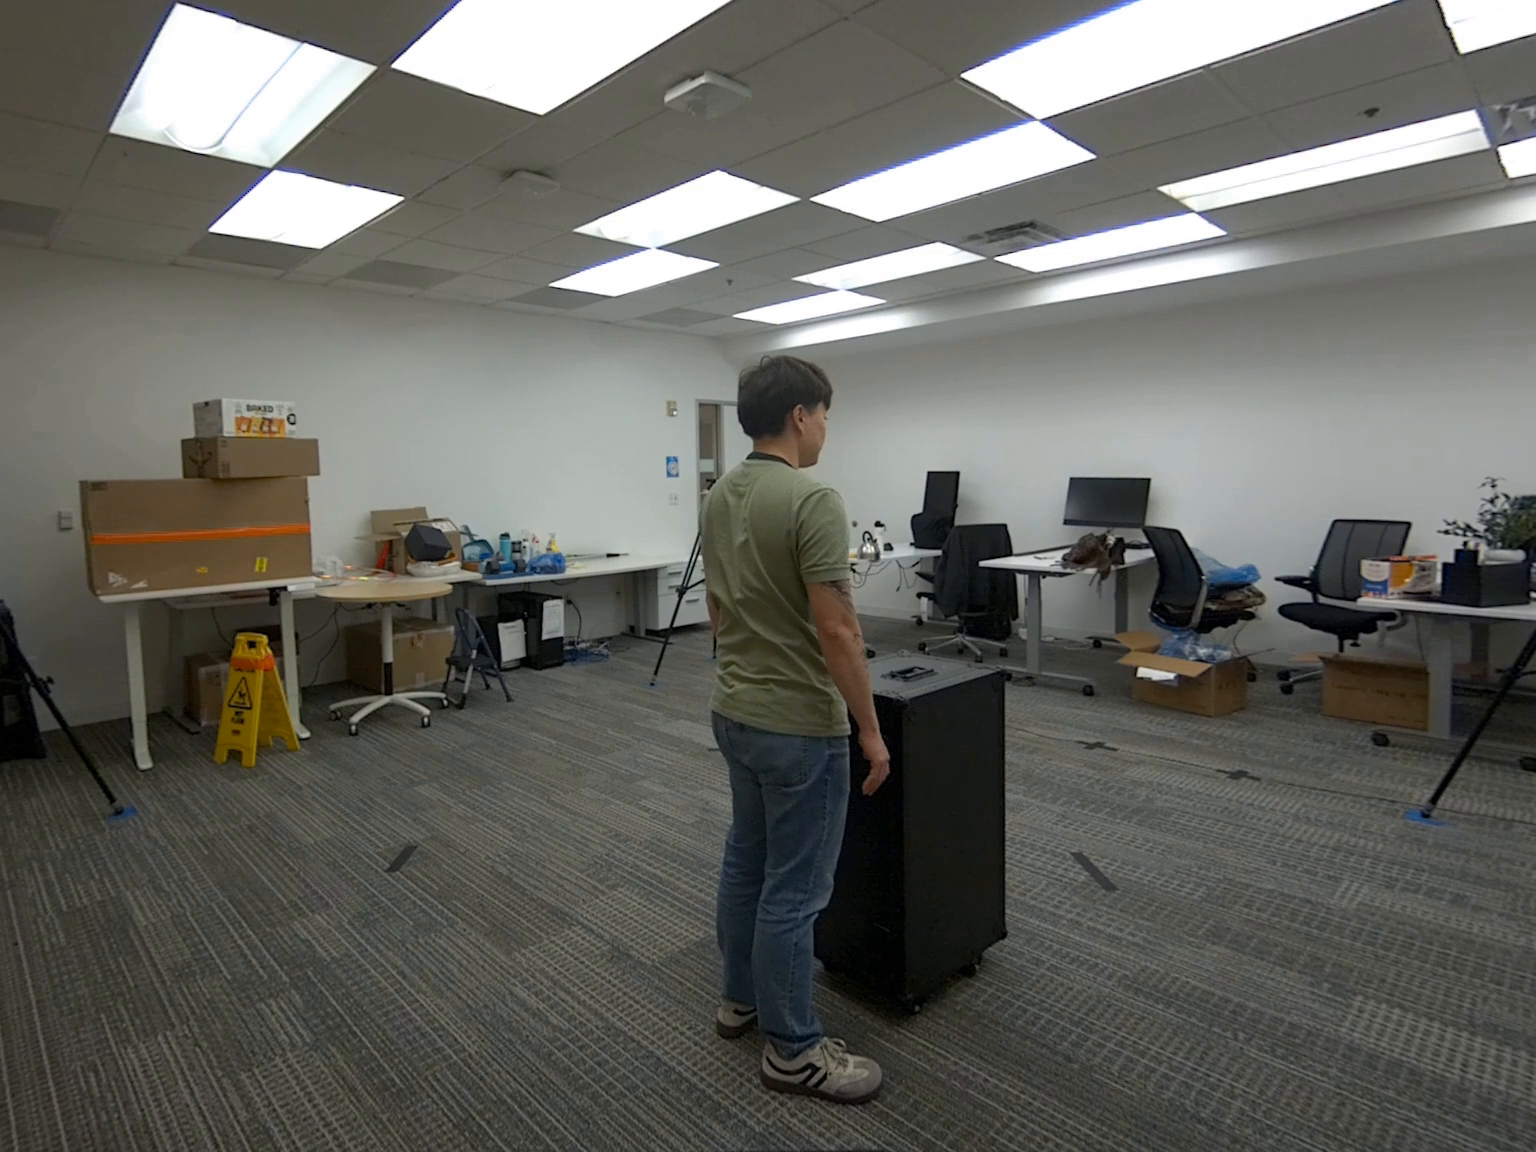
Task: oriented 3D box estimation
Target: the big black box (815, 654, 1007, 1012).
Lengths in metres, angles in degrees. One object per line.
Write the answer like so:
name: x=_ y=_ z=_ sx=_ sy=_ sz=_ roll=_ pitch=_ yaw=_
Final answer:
big black box: x=0.385 y=0.692 z=2.411 sx=0.507 sy=0.859 sz=0.408 roll=-5 pitch=5 yaw=-43
